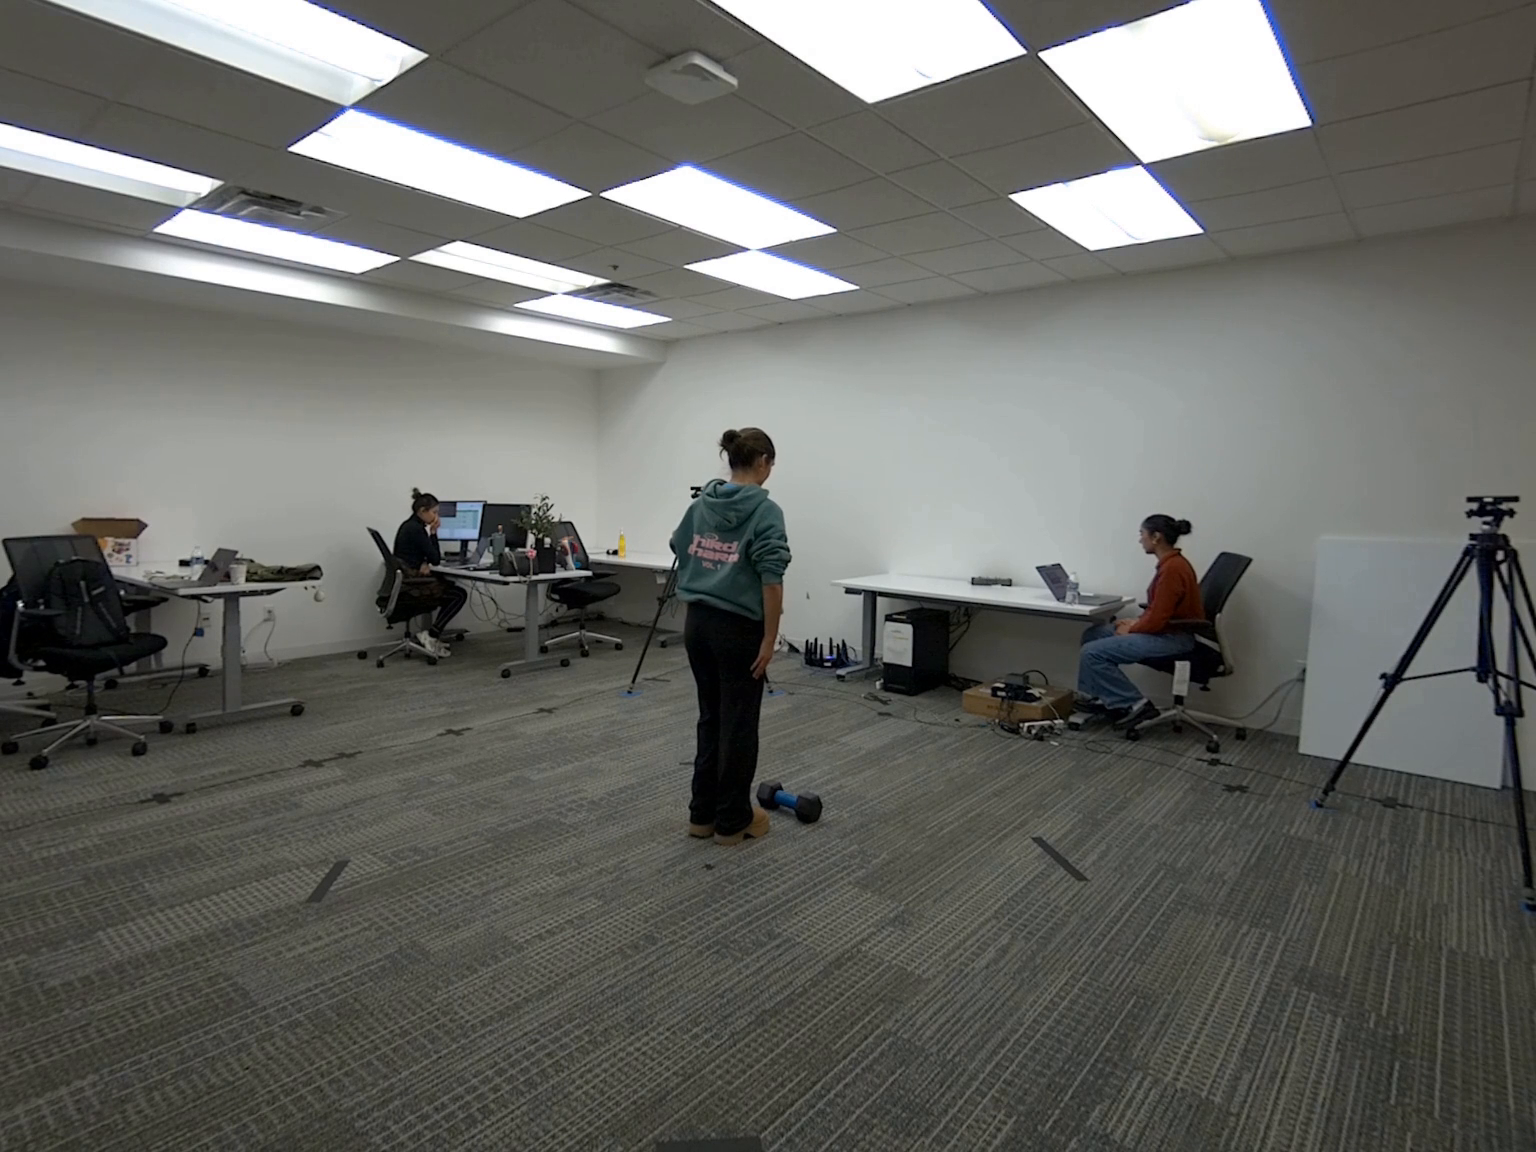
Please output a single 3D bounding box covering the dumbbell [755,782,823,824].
[{"bbox_3d":[0.082,0.962,3.656,0.304,0.124,0.104,6,-25,43],"label":"dumbbell"}]
